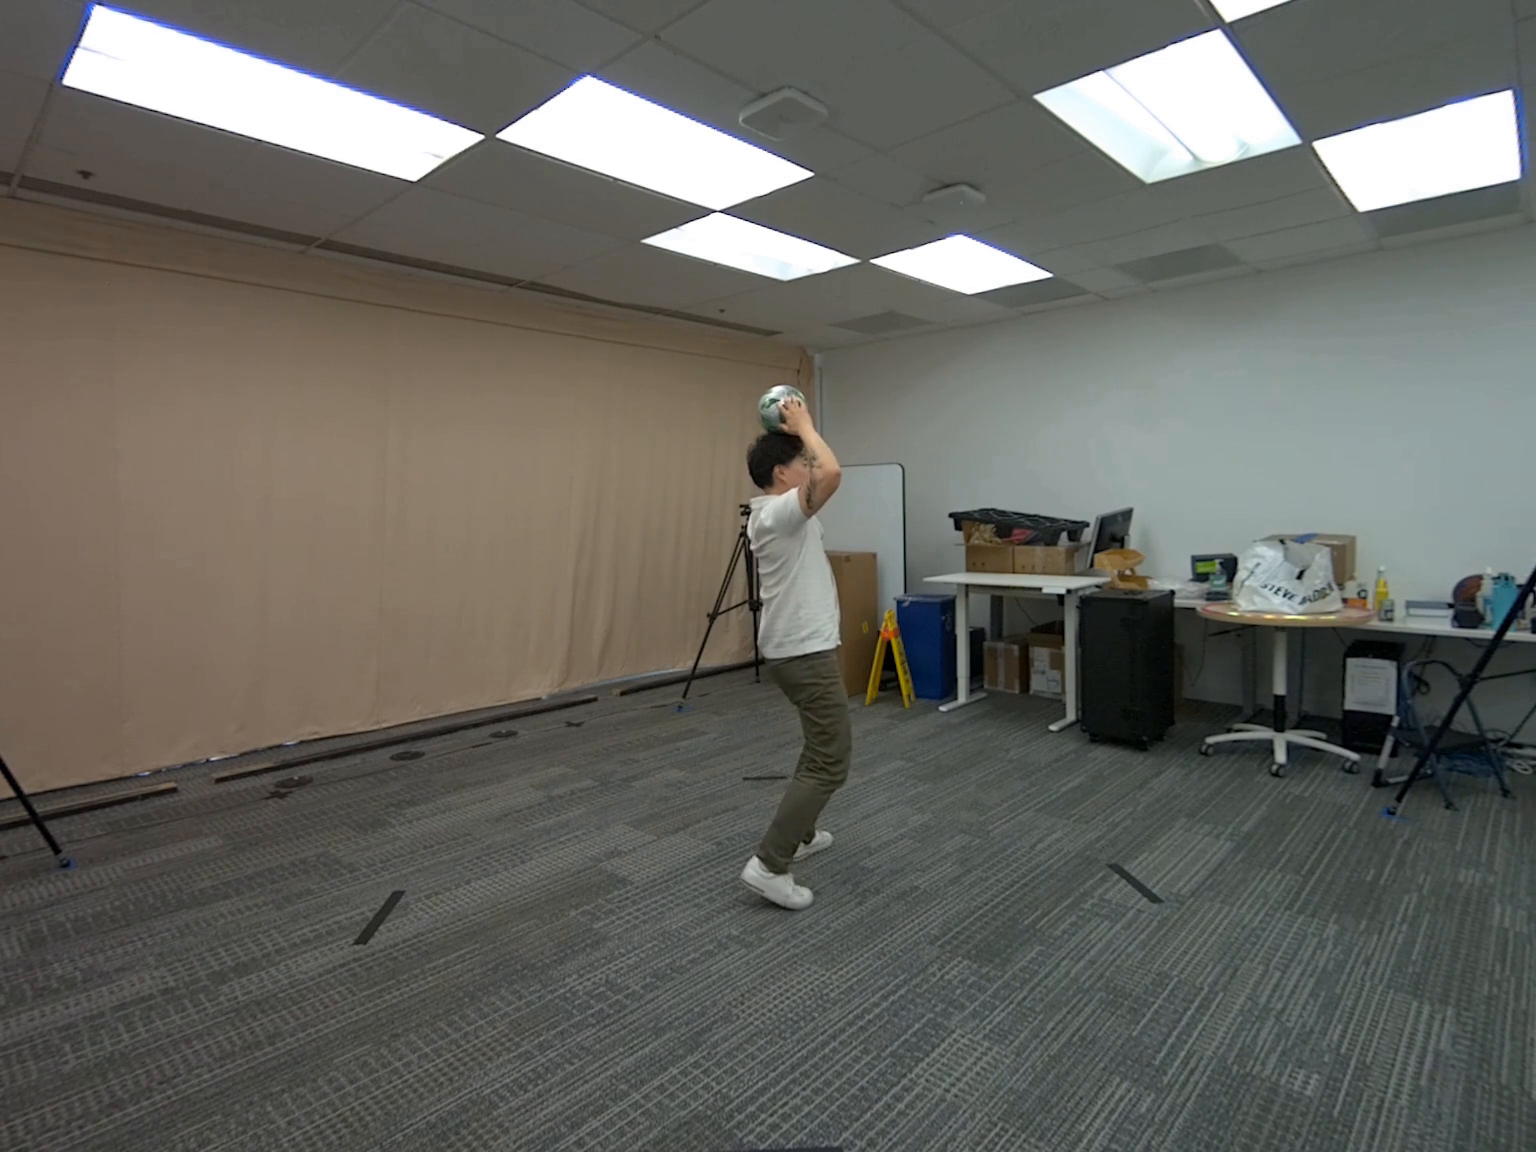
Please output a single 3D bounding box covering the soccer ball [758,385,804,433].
[{"bbox_3d":[0.056,-0.608,3.111,0.187,0.187,0.188,-1,4,-2],"label":"soccer ball"}]
